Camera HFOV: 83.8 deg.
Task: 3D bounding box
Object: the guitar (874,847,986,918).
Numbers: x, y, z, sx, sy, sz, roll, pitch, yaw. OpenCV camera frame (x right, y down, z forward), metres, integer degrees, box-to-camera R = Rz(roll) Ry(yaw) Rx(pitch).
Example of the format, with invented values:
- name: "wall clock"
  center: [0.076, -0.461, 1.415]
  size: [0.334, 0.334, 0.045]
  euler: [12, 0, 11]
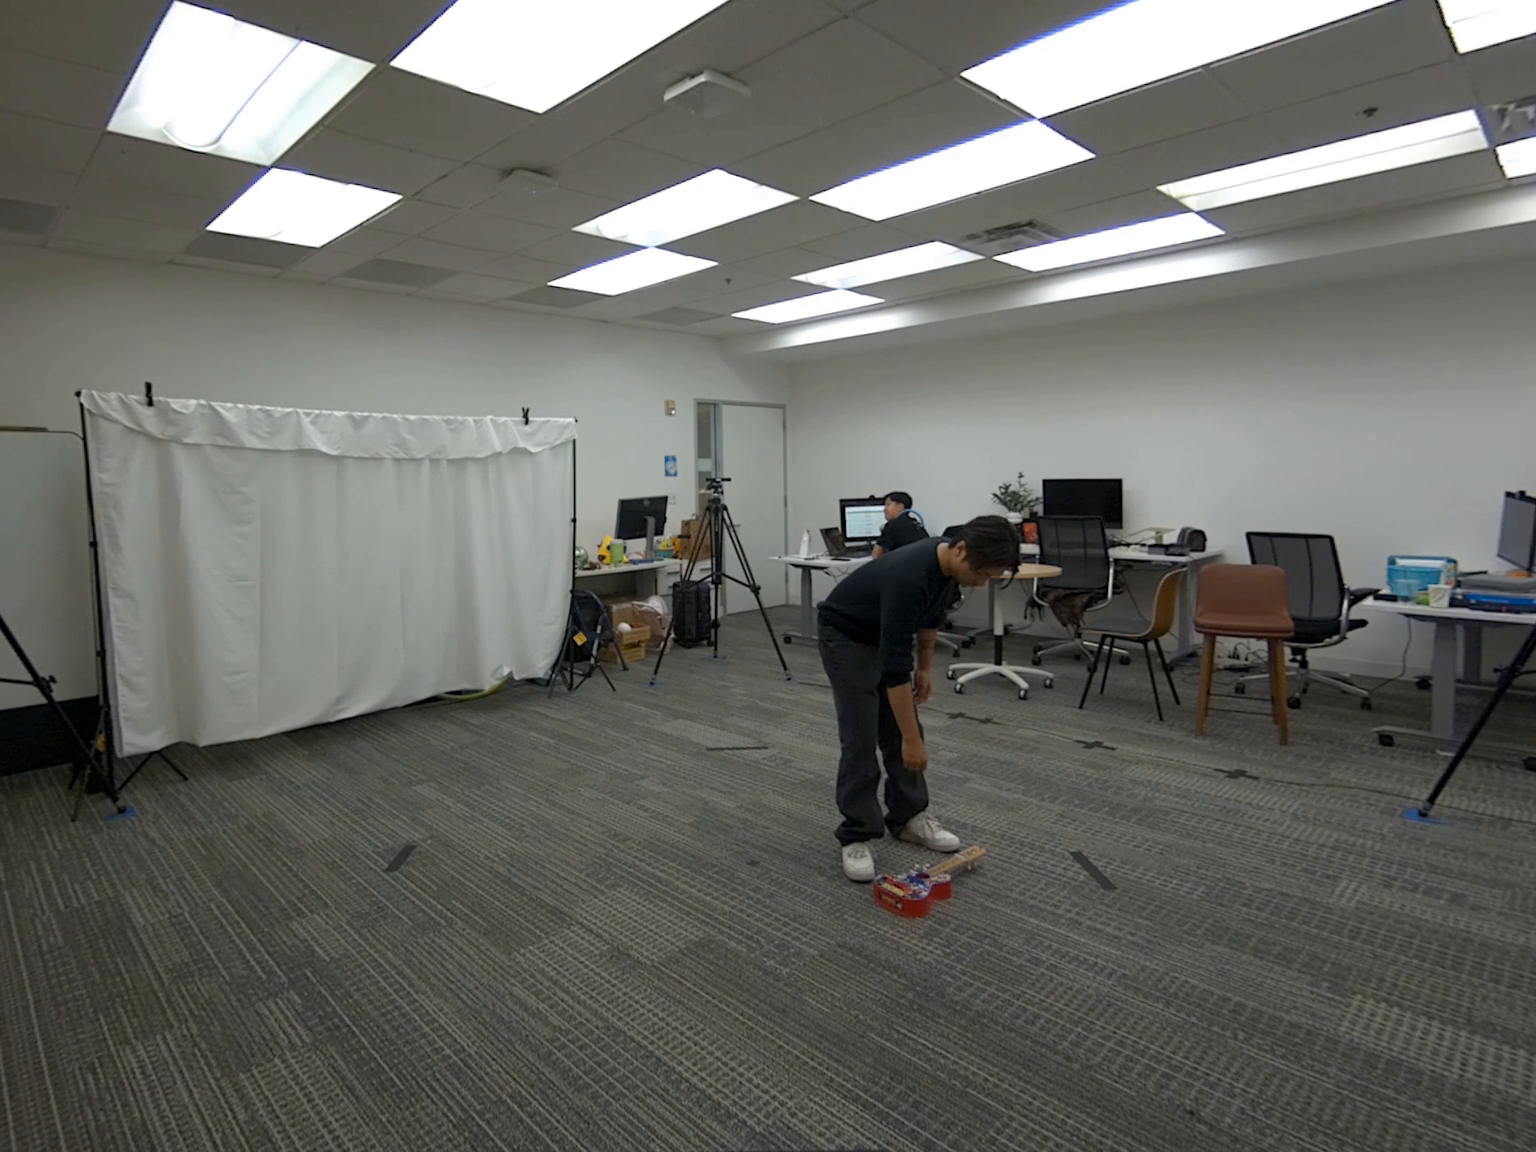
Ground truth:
- name: "guitar"
  center: [0.593, 1.029, 2.873]
  size: [0.486, 0.070, 0.198]
  euler: [-5, 7, -30]
